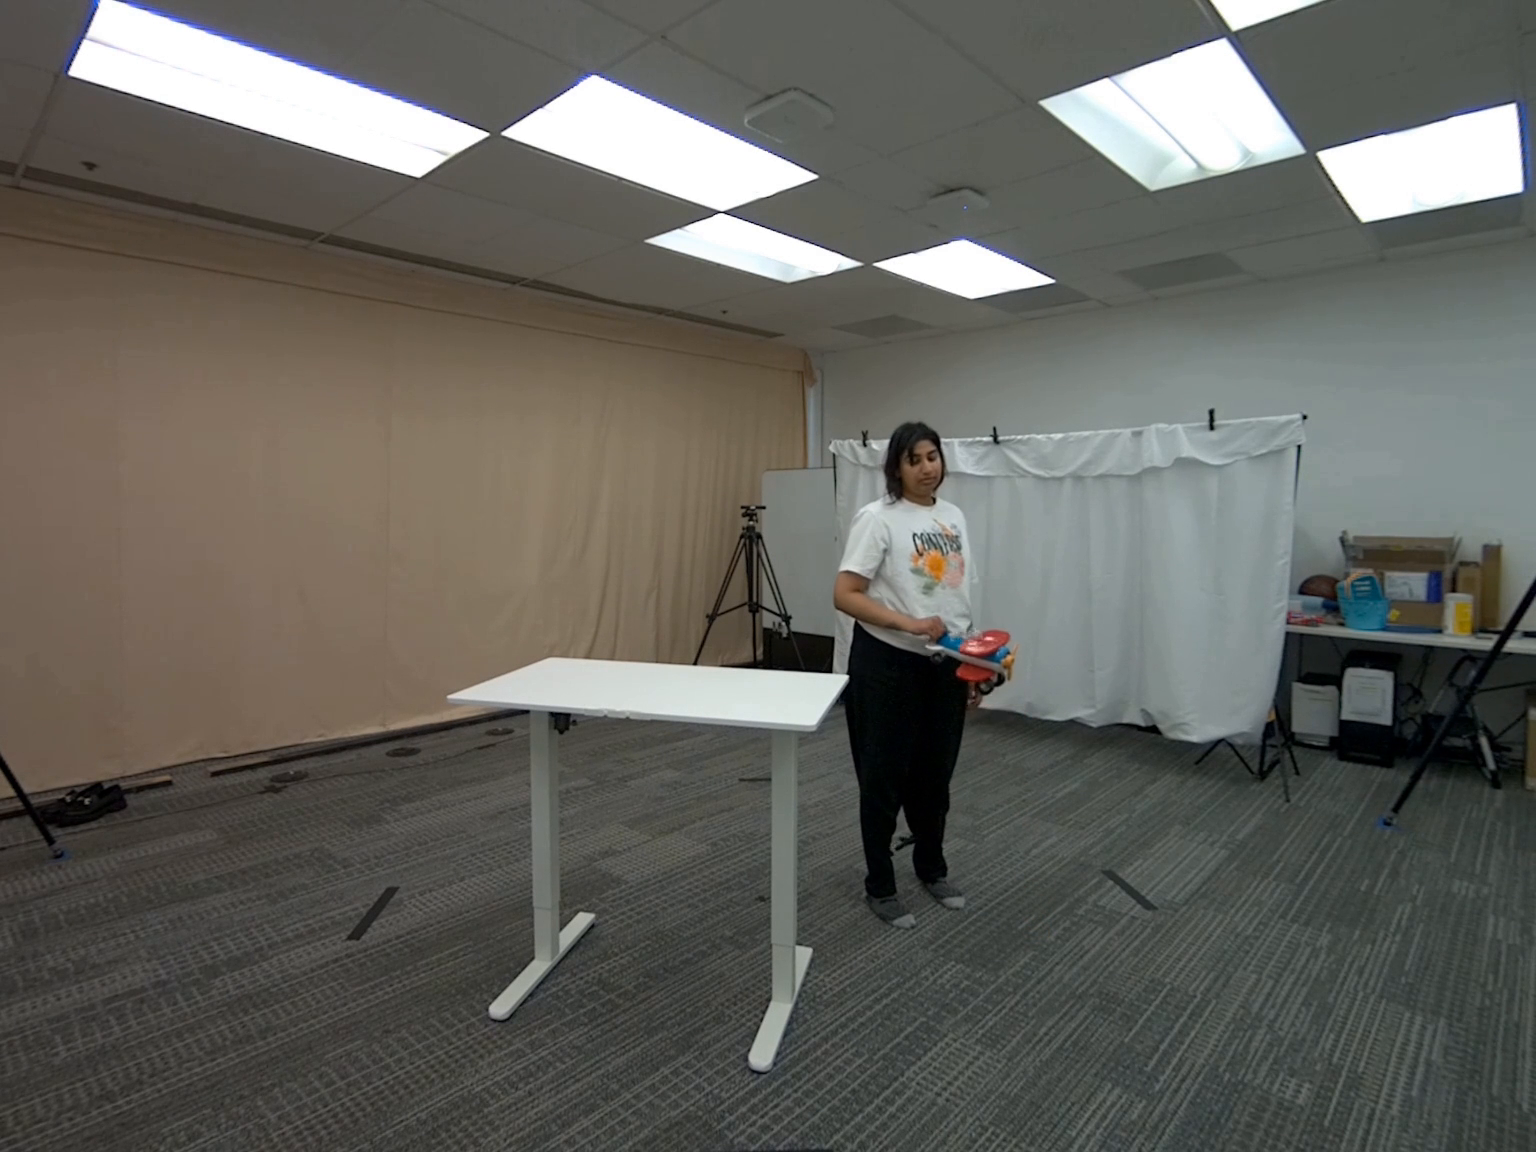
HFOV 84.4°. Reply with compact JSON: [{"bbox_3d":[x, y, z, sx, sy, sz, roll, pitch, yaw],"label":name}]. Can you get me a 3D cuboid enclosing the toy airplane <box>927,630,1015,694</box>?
[{"bbox_3d":[0.620,0.248,2.595,0.261,0.155,0.251,16,23,6],"label":"toy airplane"}]
